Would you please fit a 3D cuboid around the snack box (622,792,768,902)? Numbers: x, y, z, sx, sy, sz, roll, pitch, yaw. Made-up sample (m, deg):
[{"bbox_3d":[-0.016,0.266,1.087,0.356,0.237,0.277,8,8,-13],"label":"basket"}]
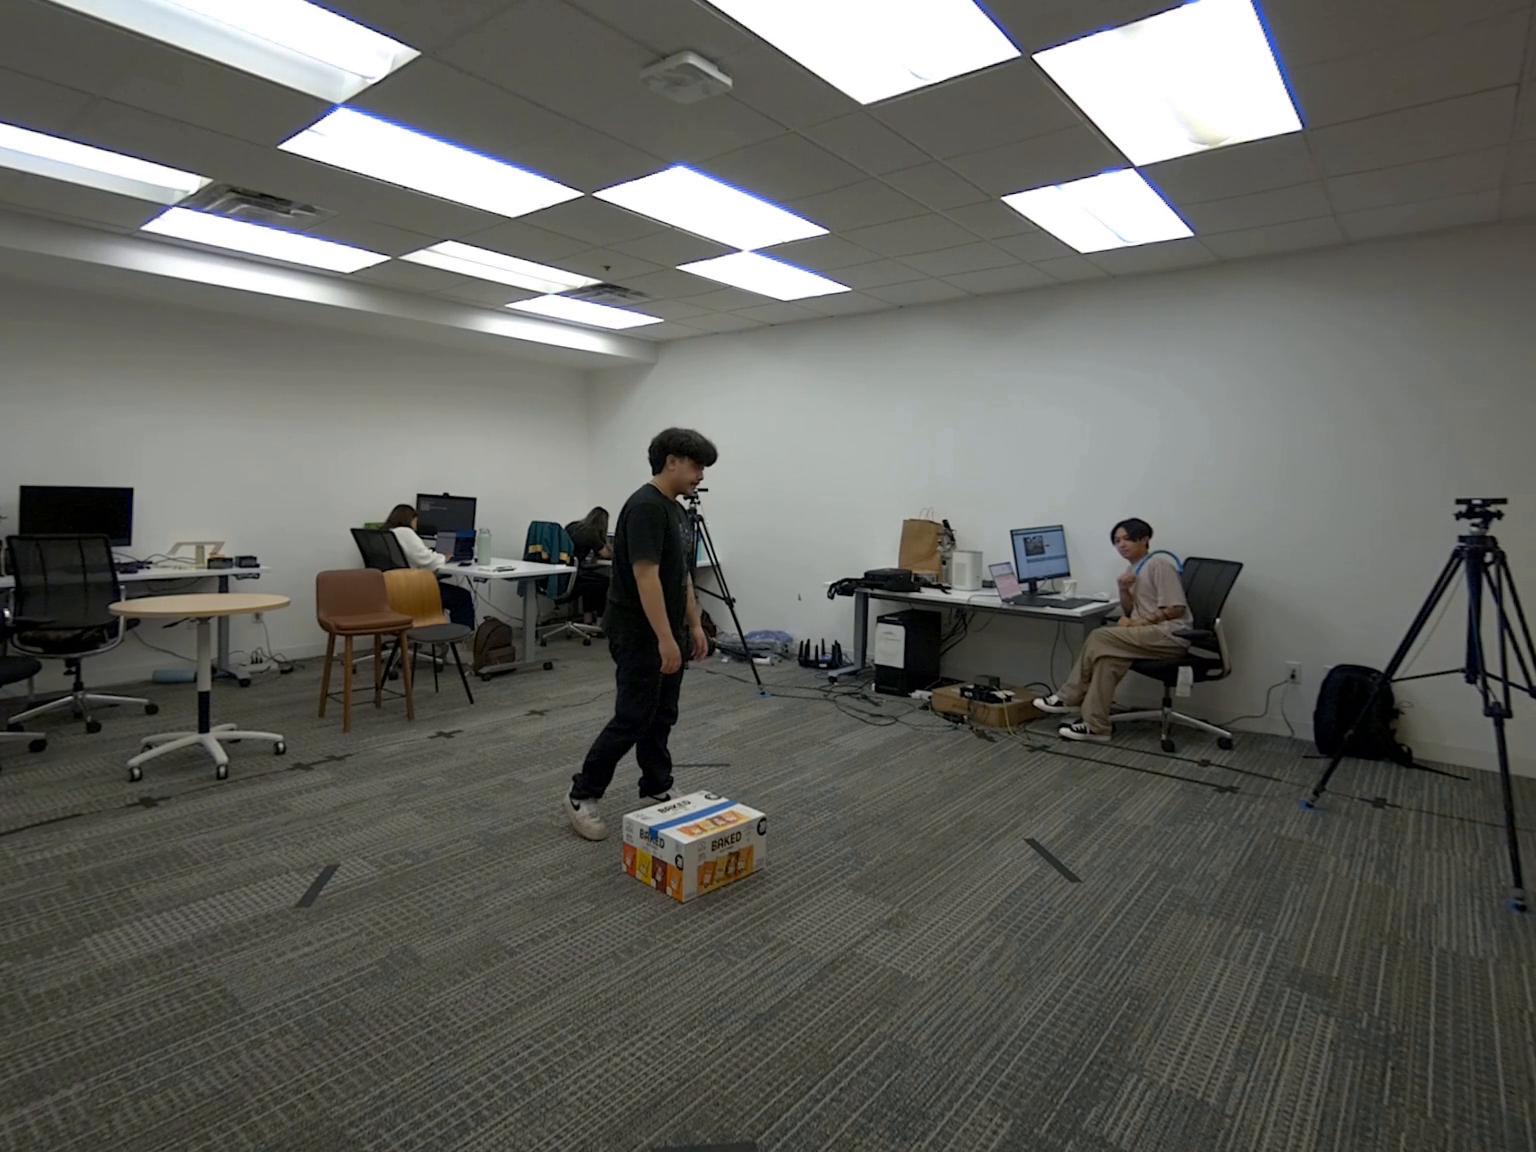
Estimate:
[{"bbox_3d":[-0.276,0.968,3.097,0.352,0.205,0.393,6,7,44],"label":"snack box"}]
